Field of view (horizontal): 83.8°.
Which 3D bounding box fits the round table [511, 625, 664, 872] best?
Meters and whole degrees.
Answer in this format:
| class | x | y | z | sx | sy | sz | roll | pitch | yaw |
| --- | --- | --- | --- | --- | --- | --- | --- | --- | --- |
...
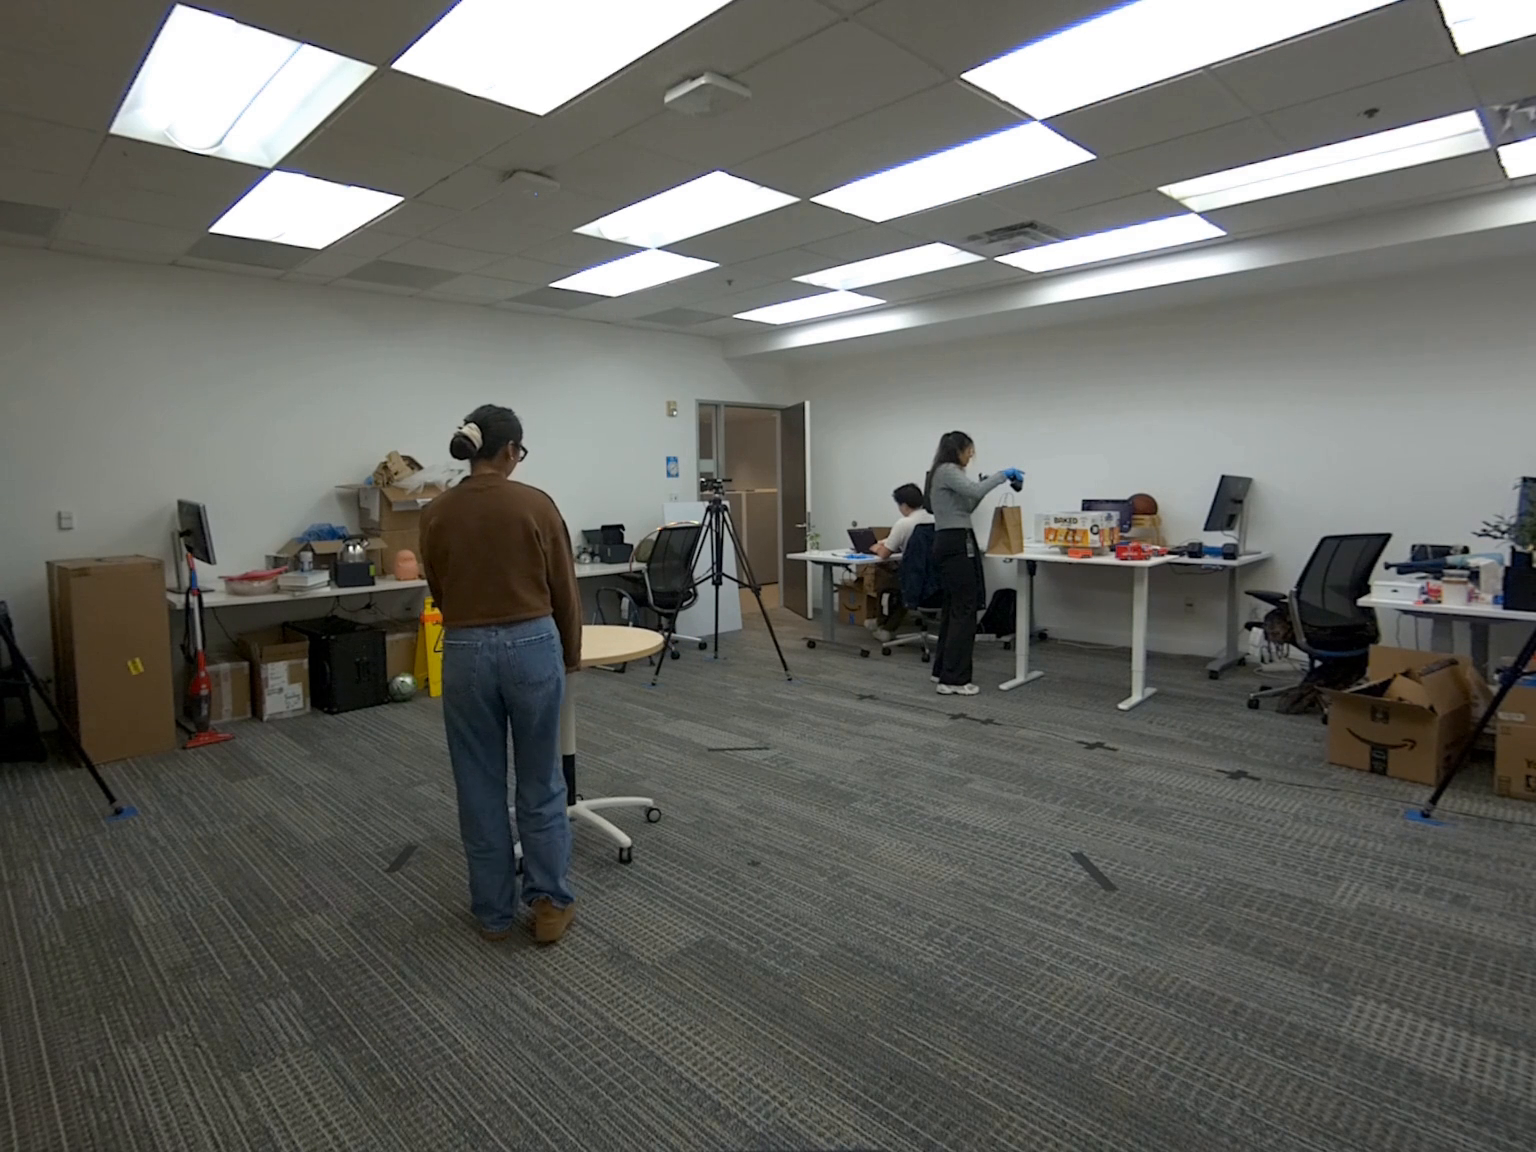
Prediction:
| class | x | y | z | sx | sy | sz | roll | pitch | yaw |
| --- | --- | --- | --- | --- | --- | --- | --- | --- | --- |
| round table | -0.770 | 0.646 | 3.326 | 0.763 | 0.791 | 0.768 | -1 | 5 | -2 |
